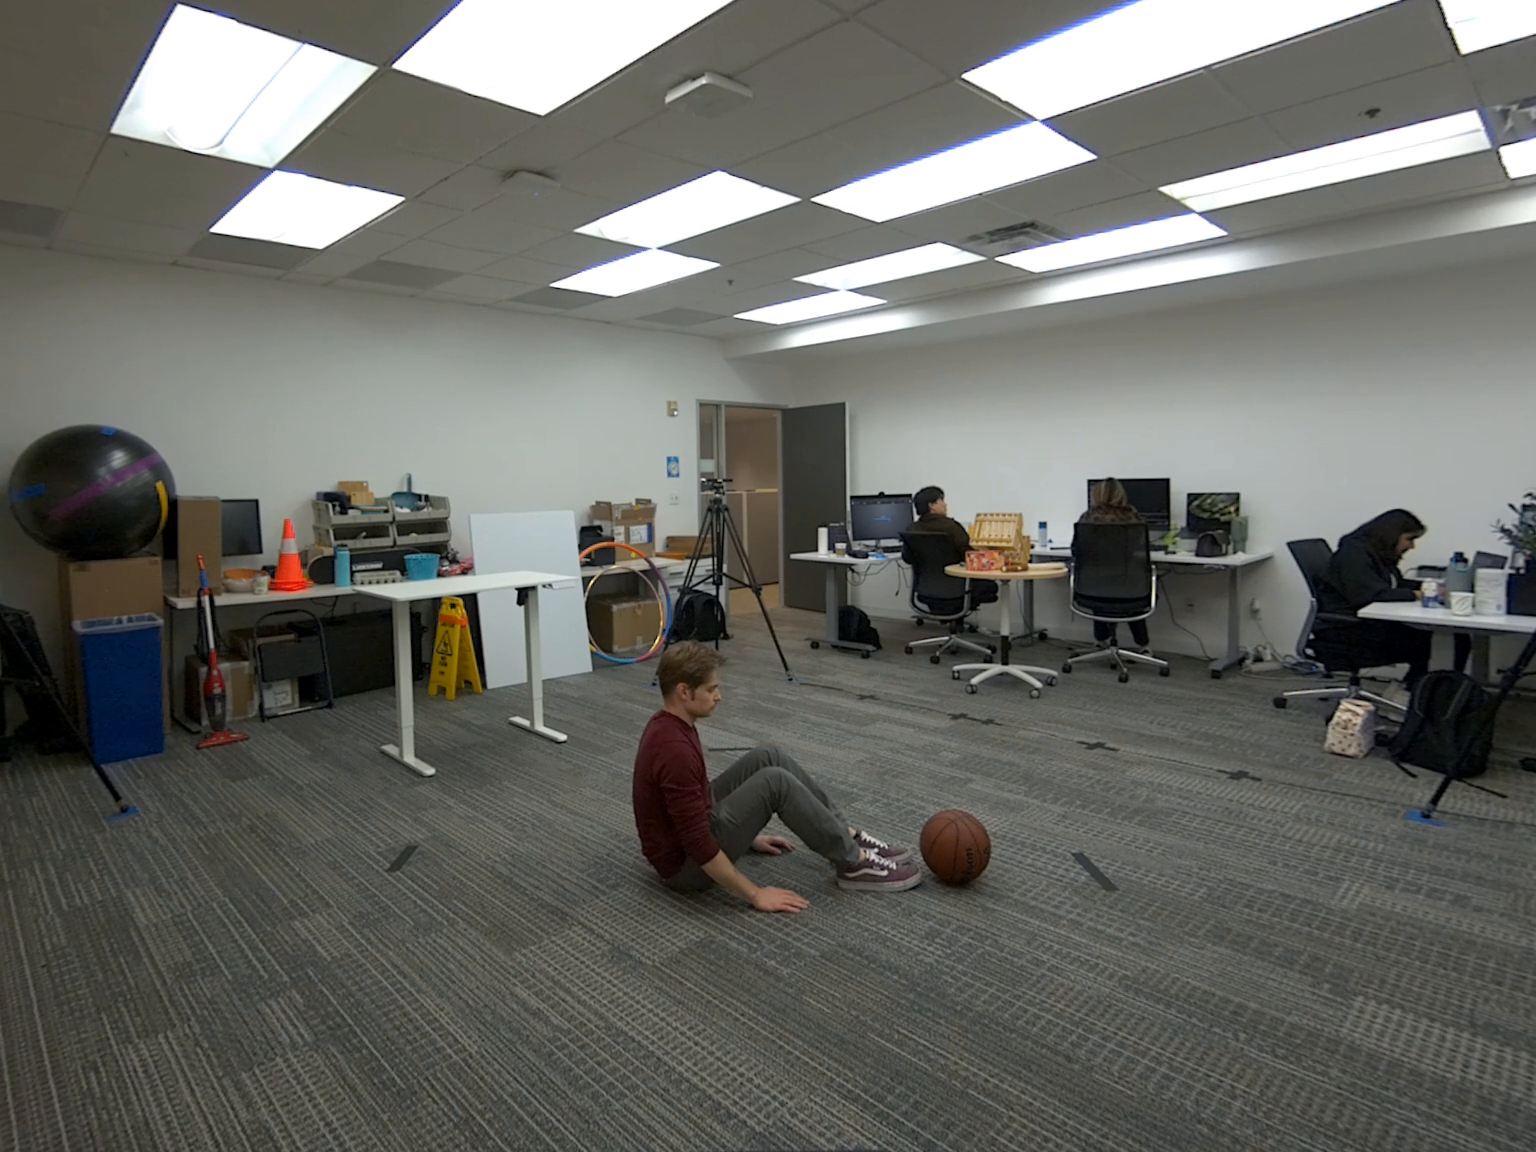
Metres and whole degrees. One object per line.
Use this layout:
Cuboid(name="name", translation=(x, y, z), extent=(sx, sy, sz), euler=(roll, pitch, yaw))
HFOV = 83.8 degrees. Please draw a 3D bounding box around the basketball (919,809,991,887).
Cuboid(name="basketball", translation=(0.646, 0.926, 2.941), extent=(0.236, 0.235, 0.237), euler=(-1, 5, -2))
